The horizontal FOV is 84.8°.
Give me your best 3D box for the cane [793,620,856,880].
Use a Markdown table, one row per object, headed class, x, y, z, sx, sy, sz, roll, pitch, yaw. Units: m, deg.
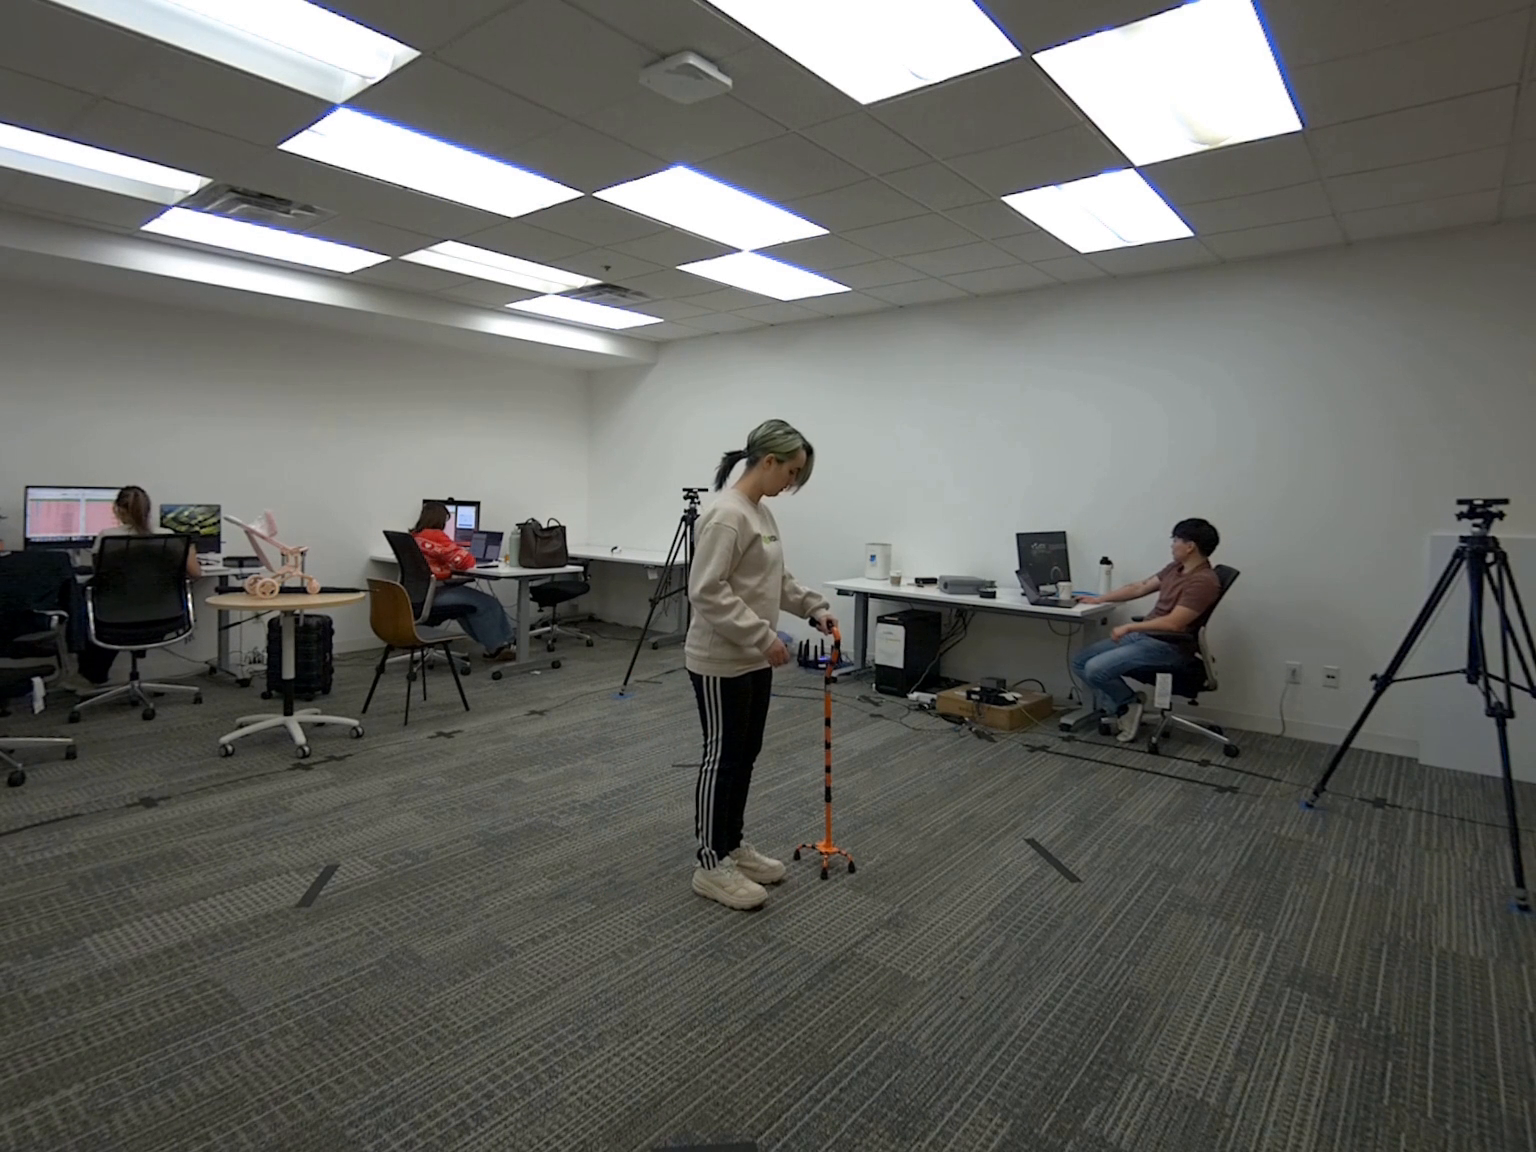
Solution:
| class | x | y | z | sx | sy | sz | roll | pitch | yaw |
| --- | --- | --- | --- | --- | --- | --- | --- | --- | --- |
| cane | 0.207 | 0.623 | 3.137 | 0.147 | 0.906 | 0.212 | -1 | 3 | -31 |
